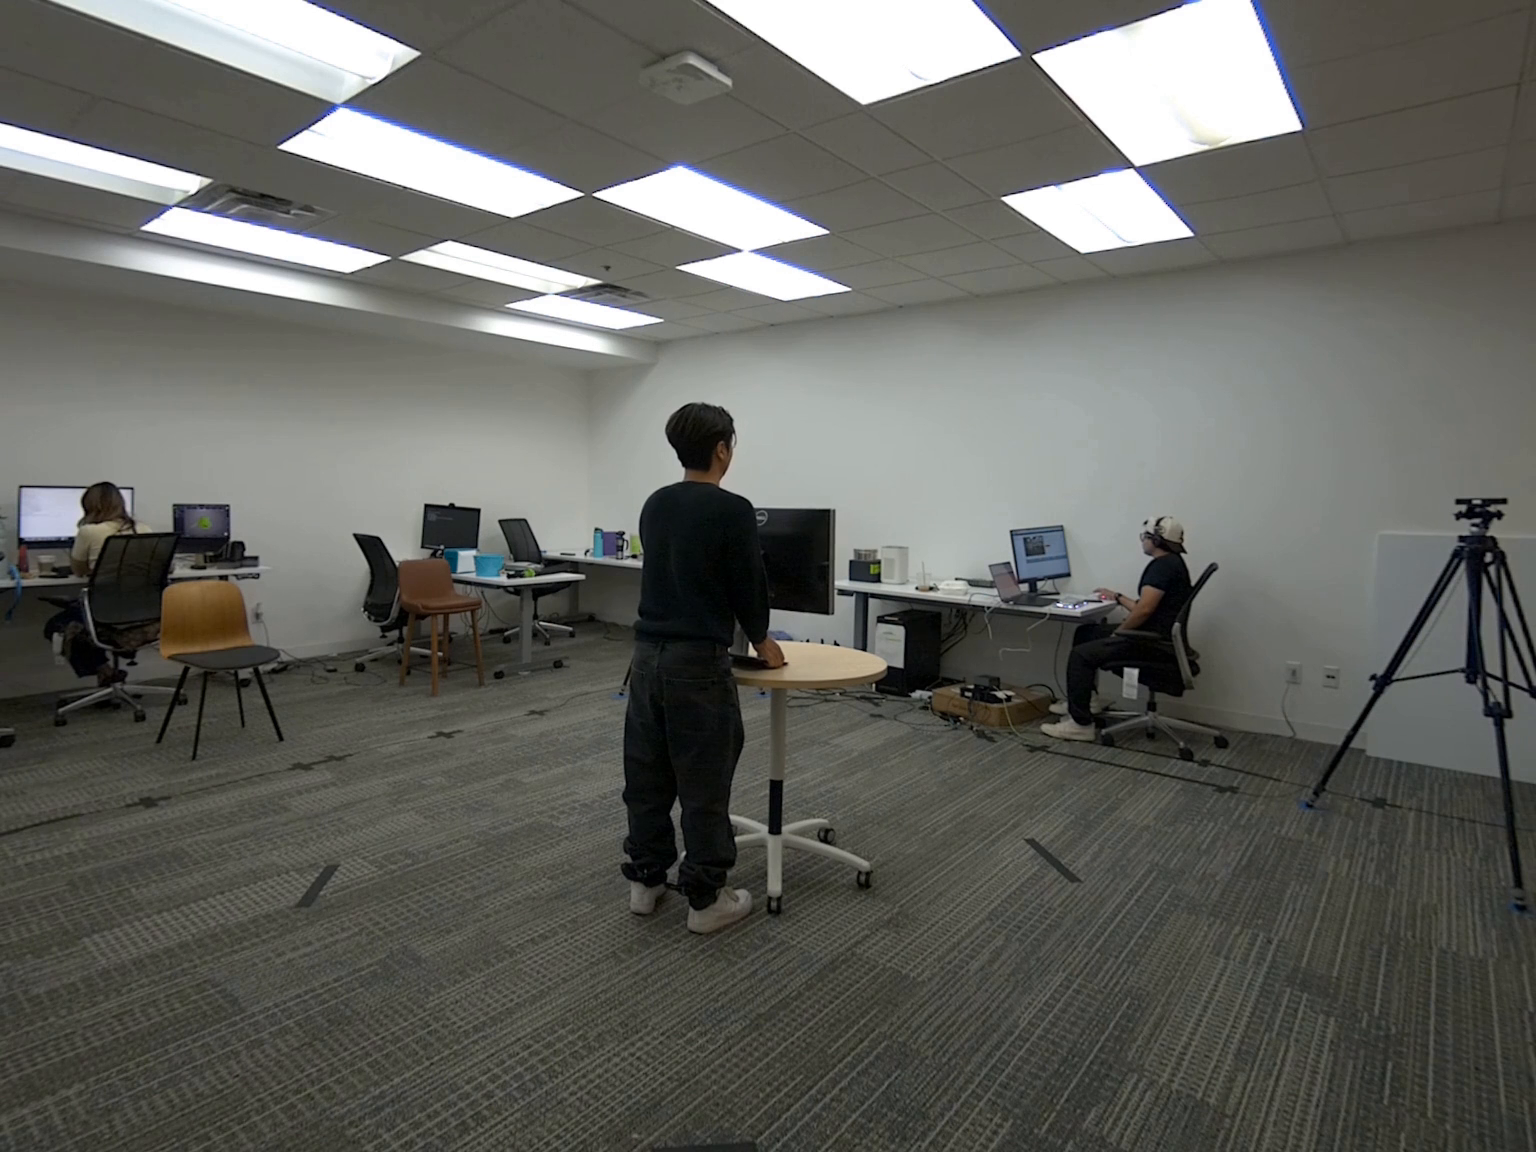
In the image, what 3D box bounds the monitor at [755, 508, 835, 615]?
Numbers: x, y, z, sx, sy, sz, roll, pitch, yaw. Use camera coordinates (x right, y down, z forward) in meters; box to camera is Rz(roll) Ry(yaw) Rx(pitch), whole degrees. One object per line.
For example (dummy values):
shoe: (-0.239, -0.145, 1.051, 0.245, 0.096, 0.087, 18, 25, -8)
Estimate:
monitor: (-0.048, 0.020, 2.995, 0.557, 0.525, 0.180, 5, -7, 36)
